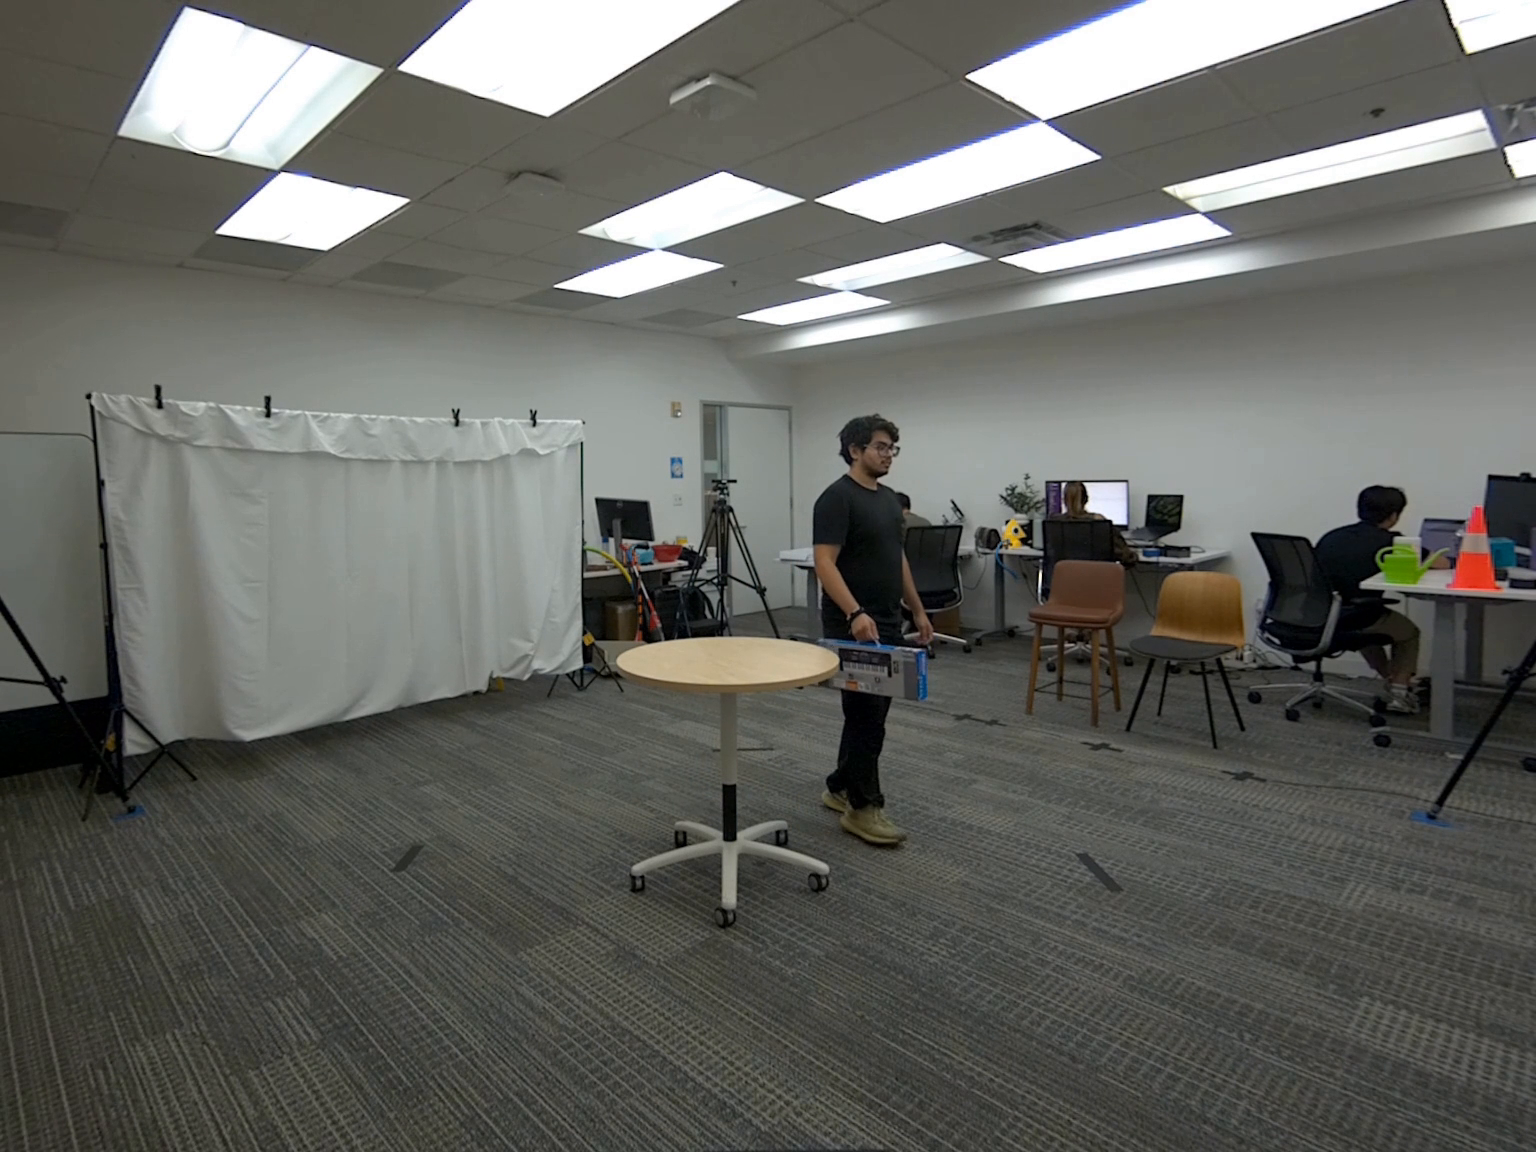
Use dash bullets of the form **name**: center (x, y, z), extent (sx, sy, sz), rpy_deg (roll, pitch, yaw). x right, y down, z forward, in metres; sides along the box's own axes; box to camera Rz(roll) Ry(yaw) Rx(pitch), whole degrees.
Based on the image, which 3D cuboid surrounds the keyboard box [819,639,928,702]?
- **keyboard box**: center (0.367, 0.337, 3.094), extent (0.450, 0.175, 0.057), rpy_deg (2, 7, 45)
